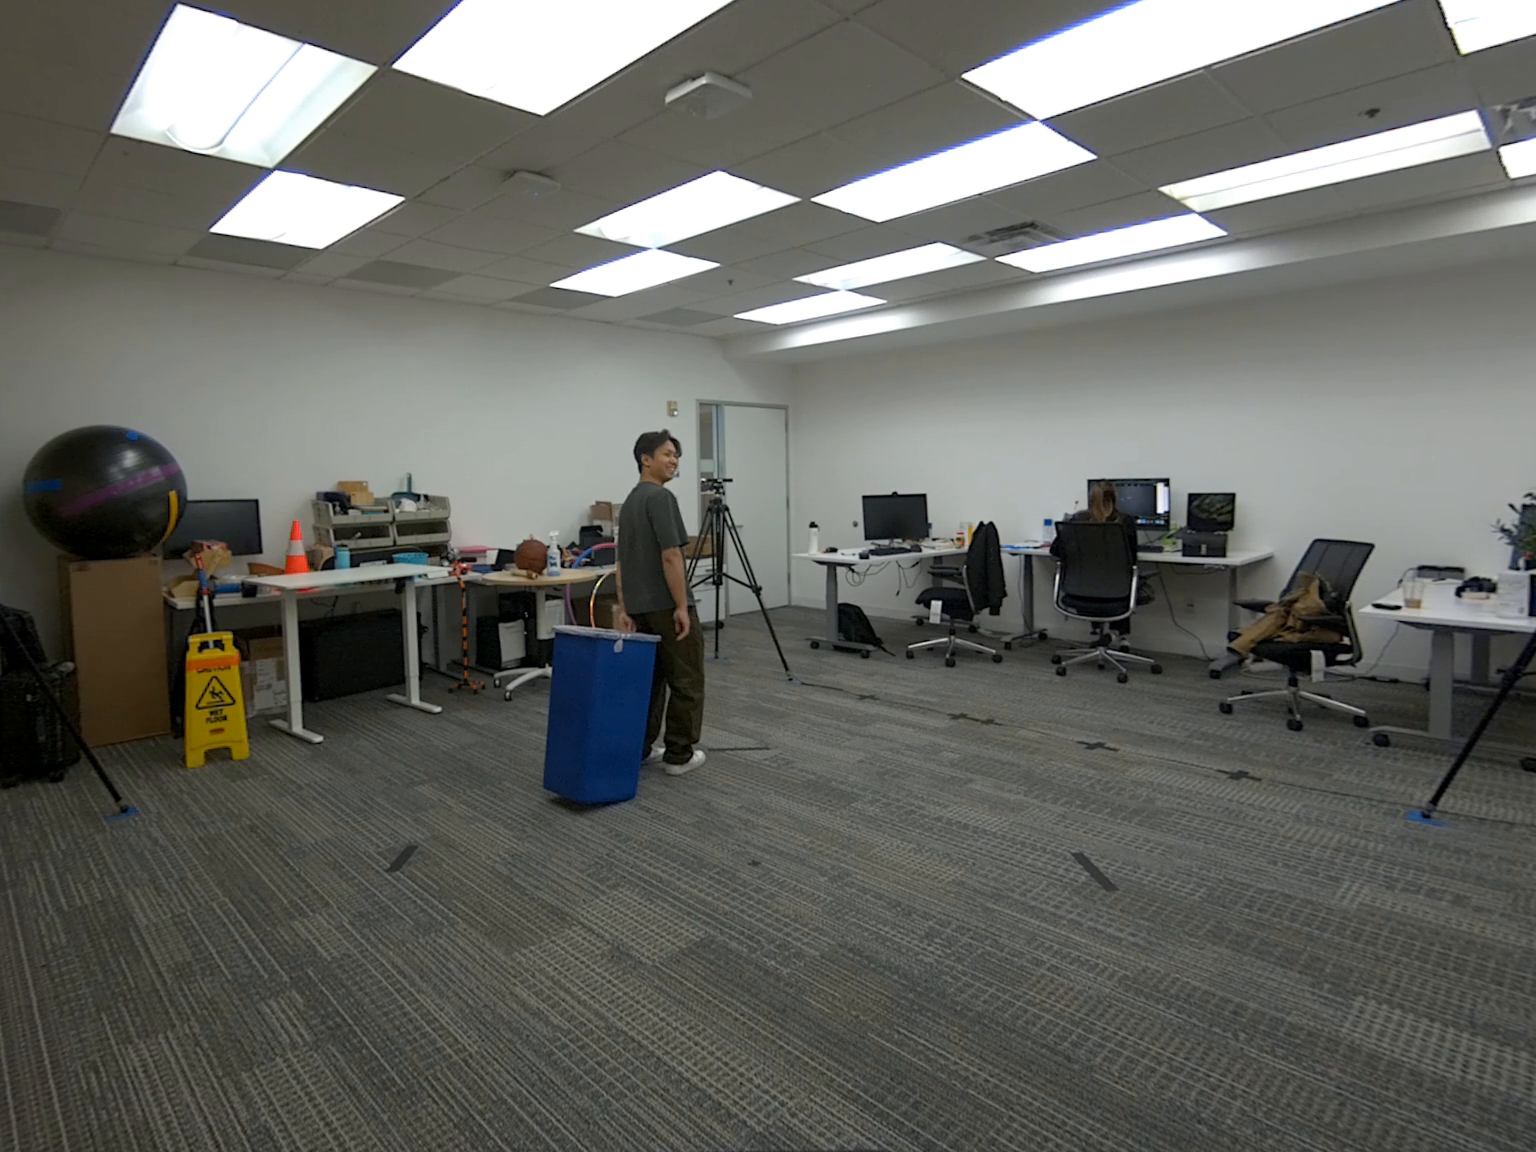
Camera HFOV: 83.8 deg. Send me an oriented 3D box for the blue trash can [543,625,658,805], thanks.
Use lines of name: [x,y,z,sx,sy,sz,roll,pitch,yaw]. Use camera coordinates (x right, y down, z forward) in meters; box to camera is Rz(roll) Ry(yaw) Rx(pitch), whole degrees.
blue trash can: [-0.764,0.602,3.802,0.385,0.716,0.365,2,-6,41]
